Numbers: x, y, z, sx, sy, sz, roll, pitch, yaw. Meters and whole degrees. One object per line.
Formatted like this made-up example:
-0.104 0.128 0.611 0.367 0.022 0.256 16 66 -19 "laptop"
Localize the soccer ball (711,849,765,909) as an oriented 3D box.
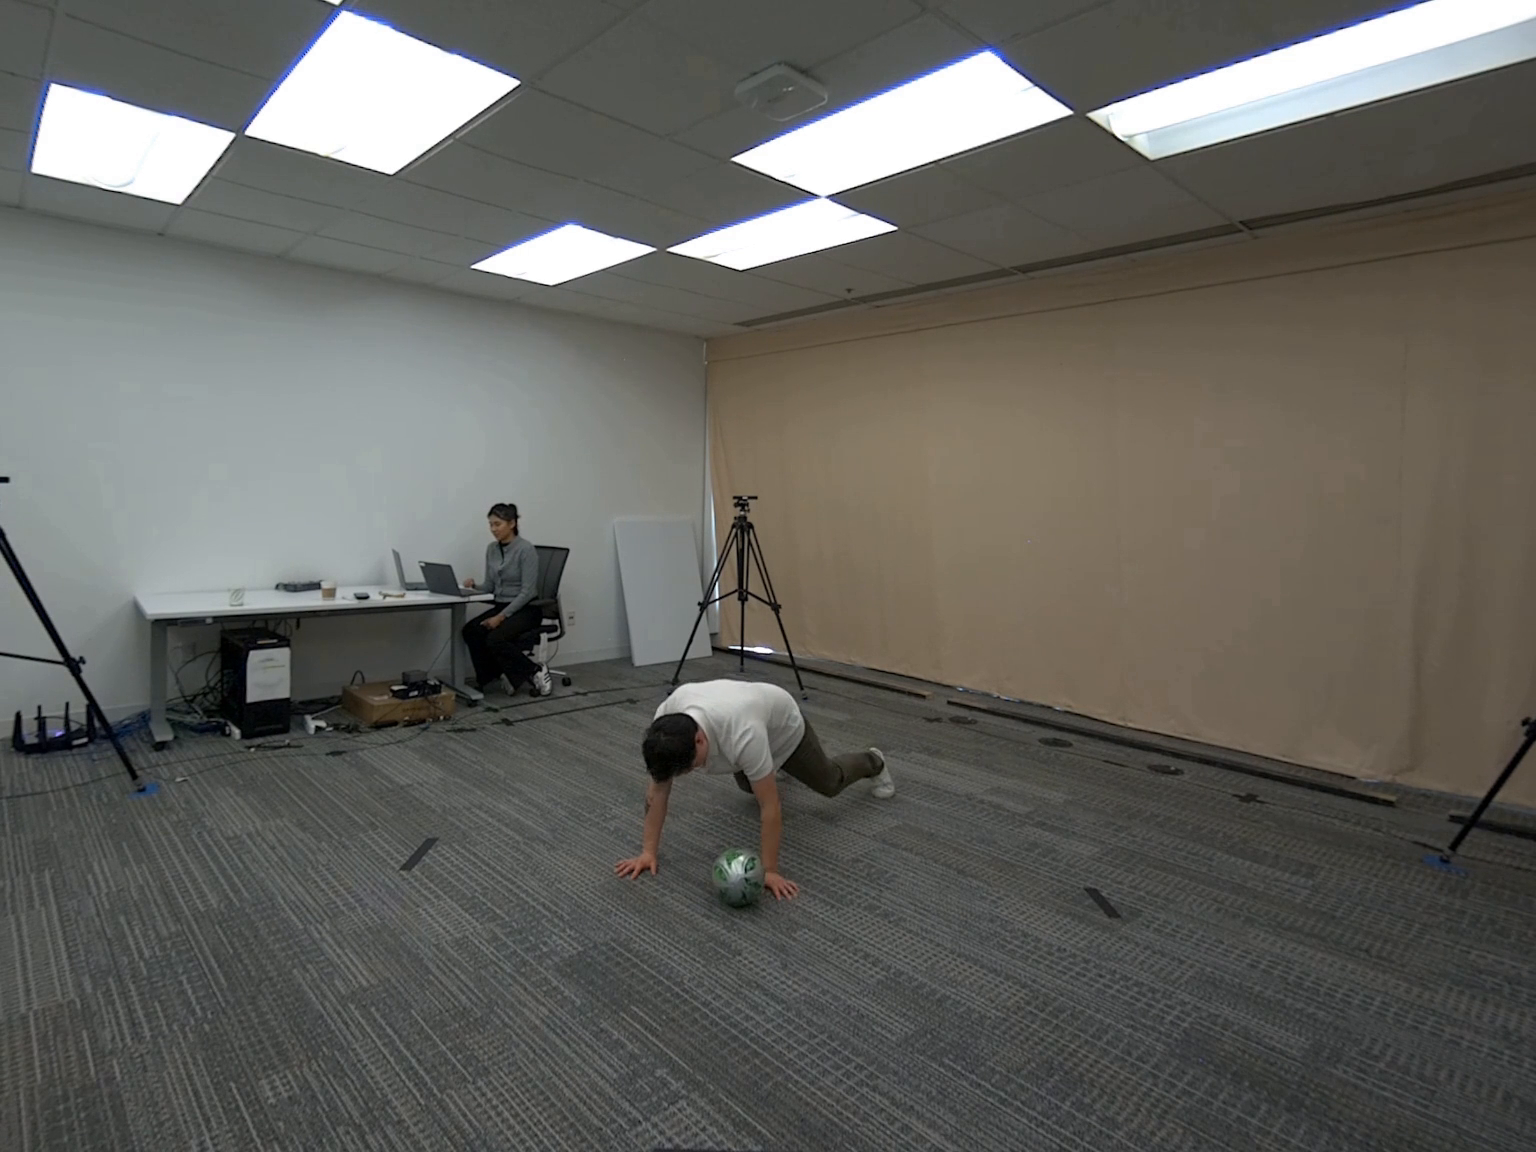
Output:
-0.117 1.033 2.881 0.187 0.187 0.188 1 4 -1 "soccer ball"
